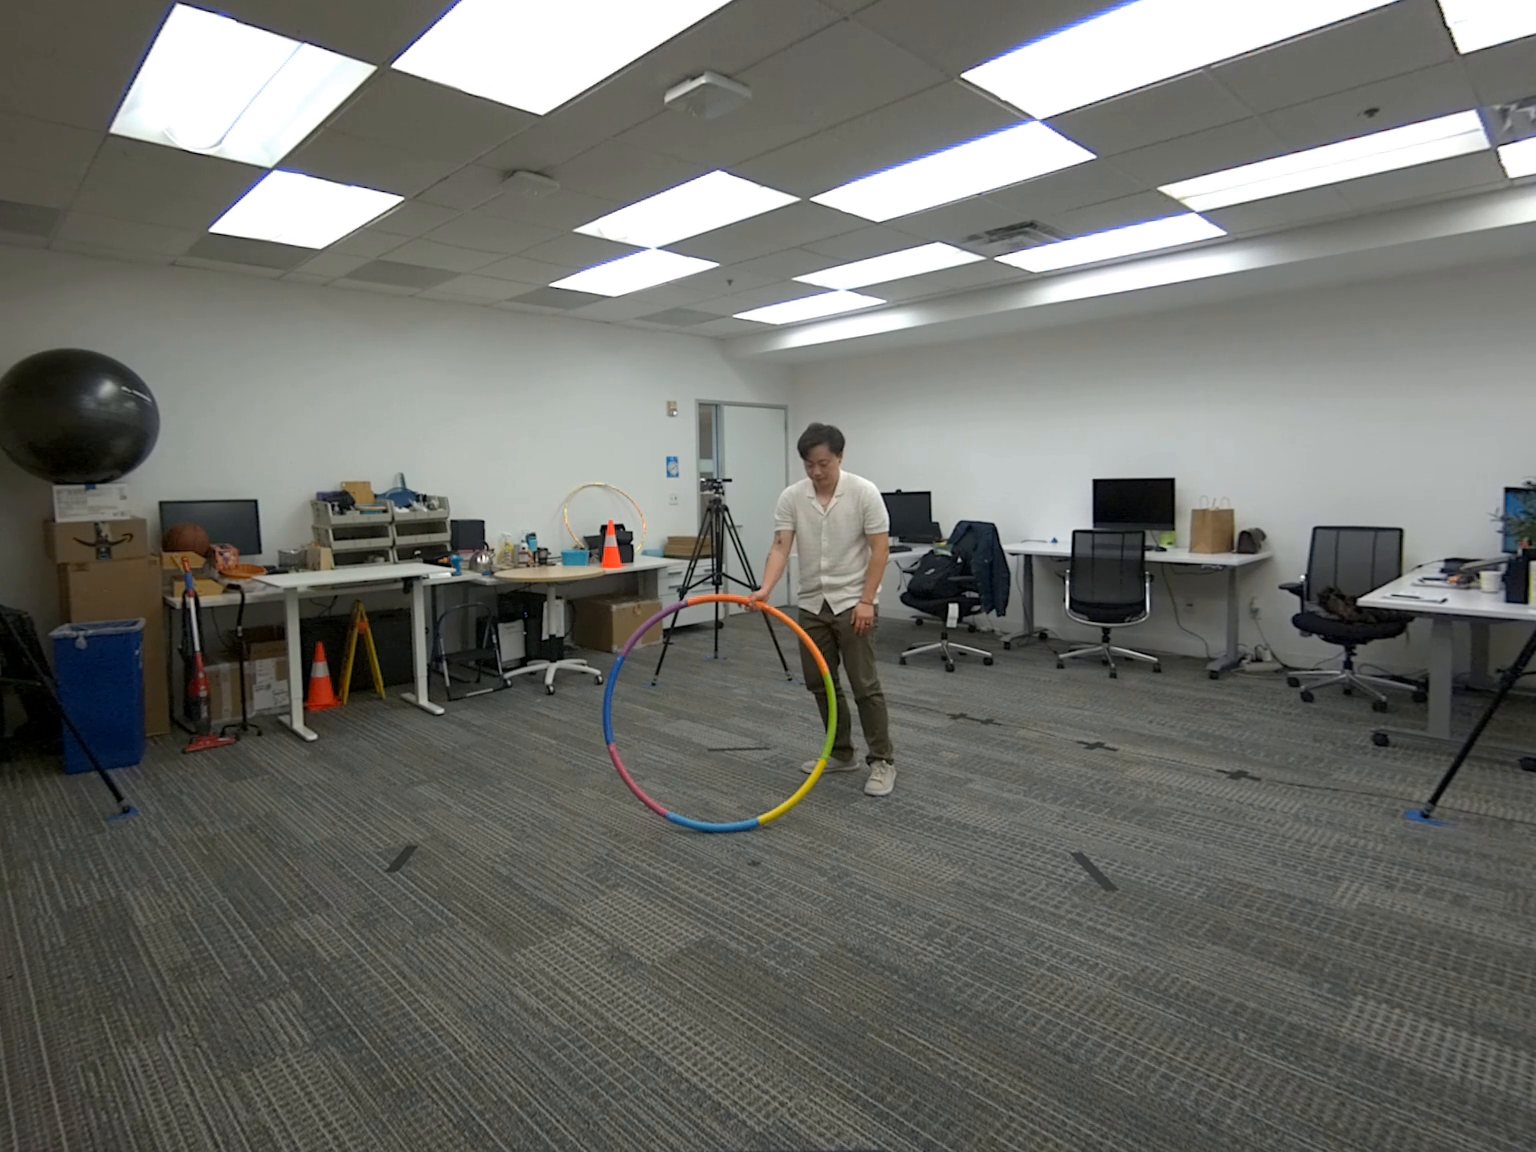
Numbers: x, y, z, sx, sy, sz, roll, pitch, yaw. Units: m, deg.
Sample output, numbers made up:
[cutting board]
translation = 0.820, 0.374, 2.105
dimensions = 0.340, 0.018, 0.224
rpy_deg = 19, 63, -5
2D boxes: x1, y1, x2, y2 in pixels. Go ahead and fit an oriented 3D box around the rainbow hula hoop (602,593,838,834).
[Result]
[rainbow hula hoop]
translation = -0.193, 0.541, 3.568
dimensions = 0.972, 0.999, 0.035
rpy_deg = -2, -22, -6
